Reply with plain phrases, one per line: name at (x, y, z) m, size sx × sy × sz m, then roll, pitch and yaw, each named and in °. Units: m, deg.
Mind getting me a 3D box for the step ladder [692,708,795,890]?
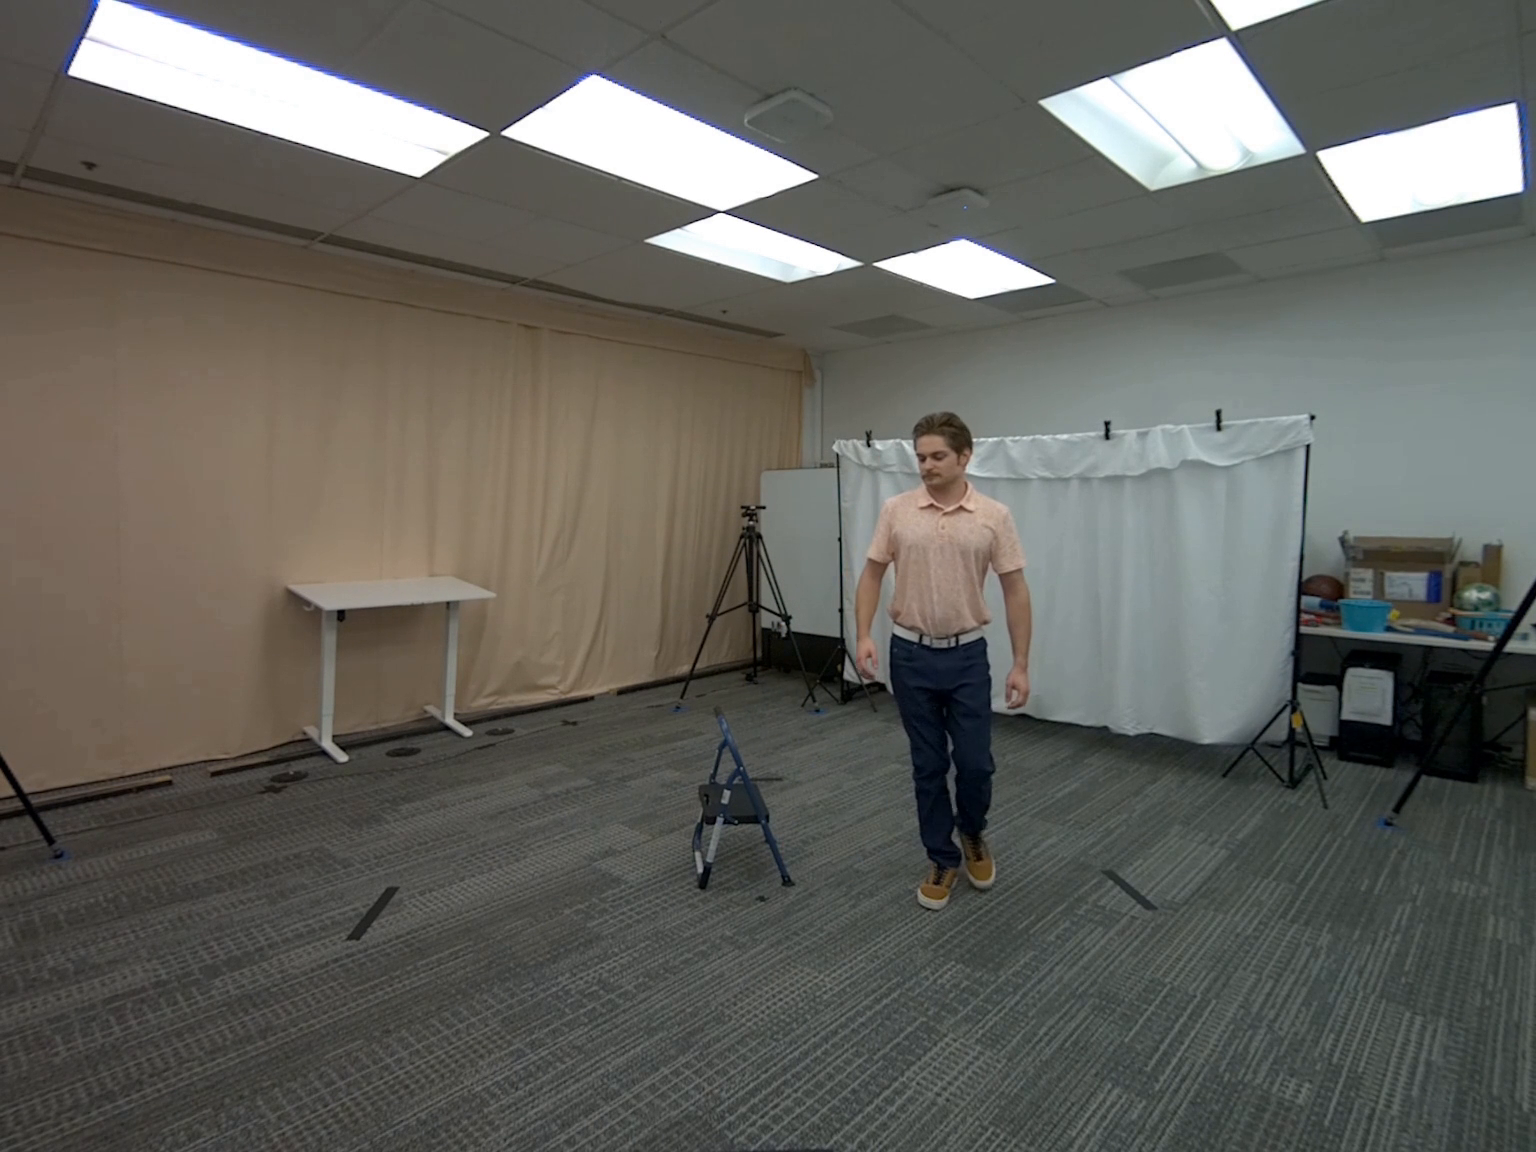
step ladder at (-0.117, 0.821, 3.263) m, size 0.346 × 0.605 × 0.435 m, roll -1°, pitch 3°, yaw -9°
